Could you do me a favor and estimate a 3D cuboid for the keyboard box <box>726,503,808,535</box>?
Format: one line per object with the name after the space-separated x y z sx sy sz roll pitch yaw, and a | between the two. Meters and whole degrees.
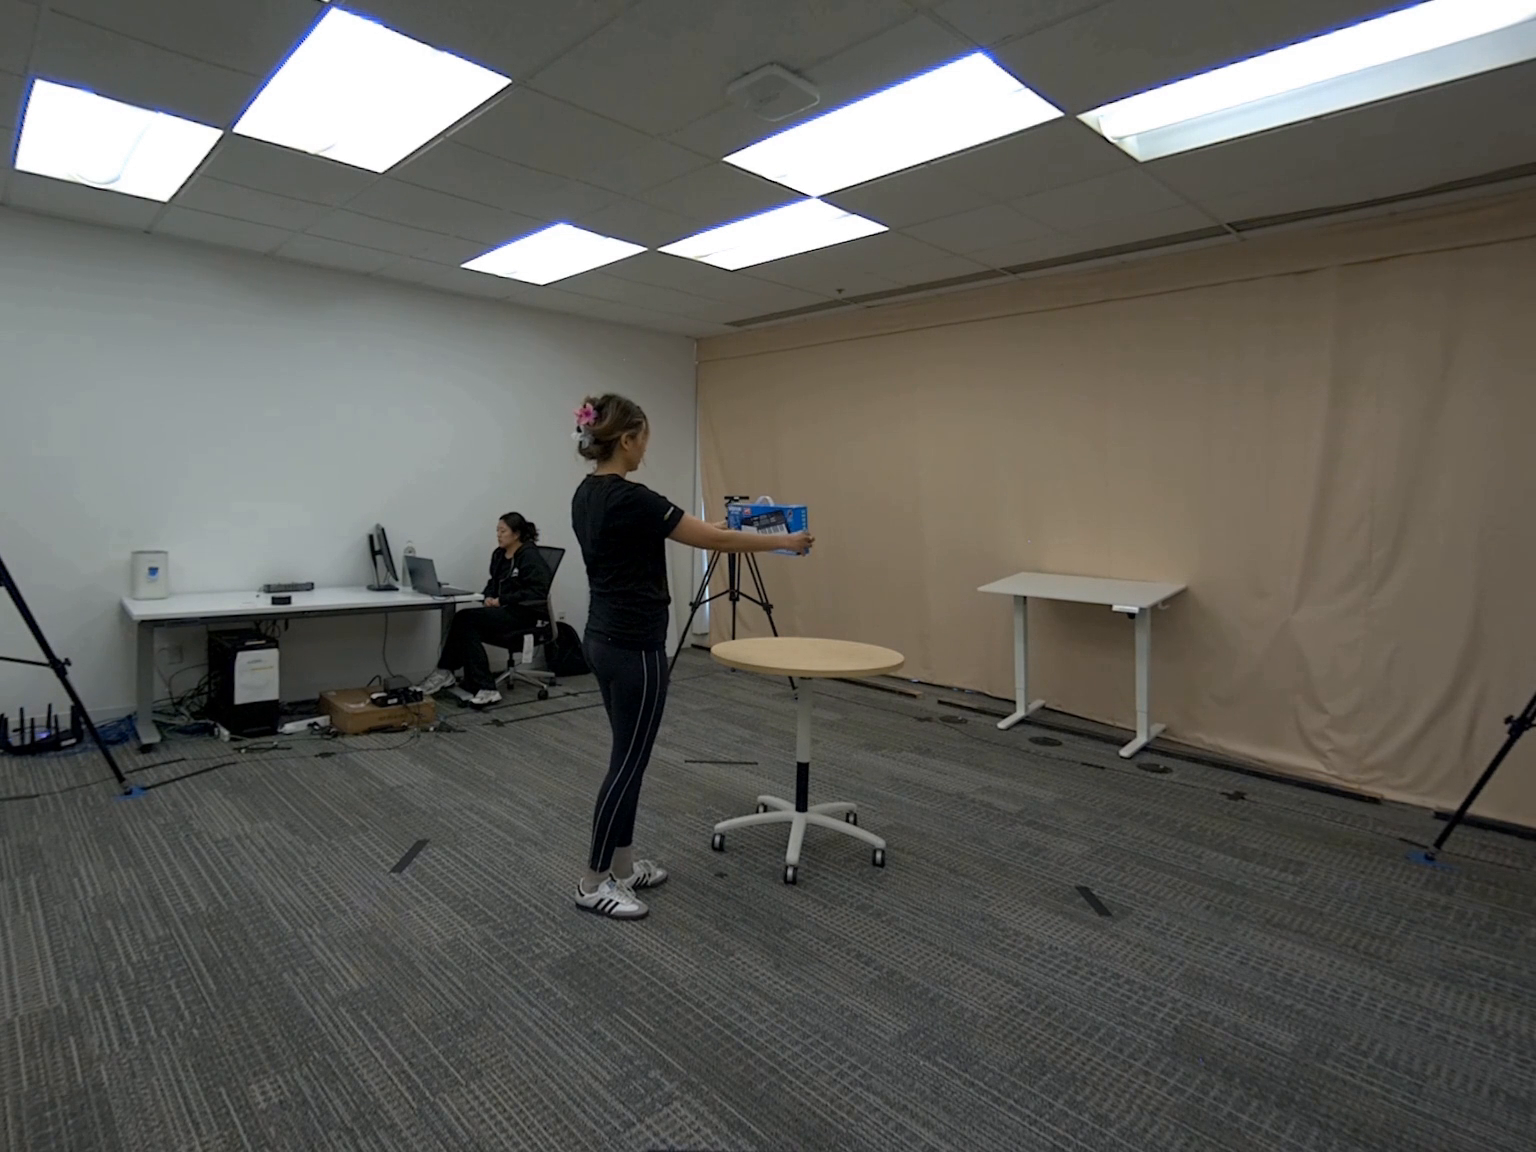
-0.012 -0.177 3.141 0.058 0.175 0.448 -7 9 -33 | keyboard box
